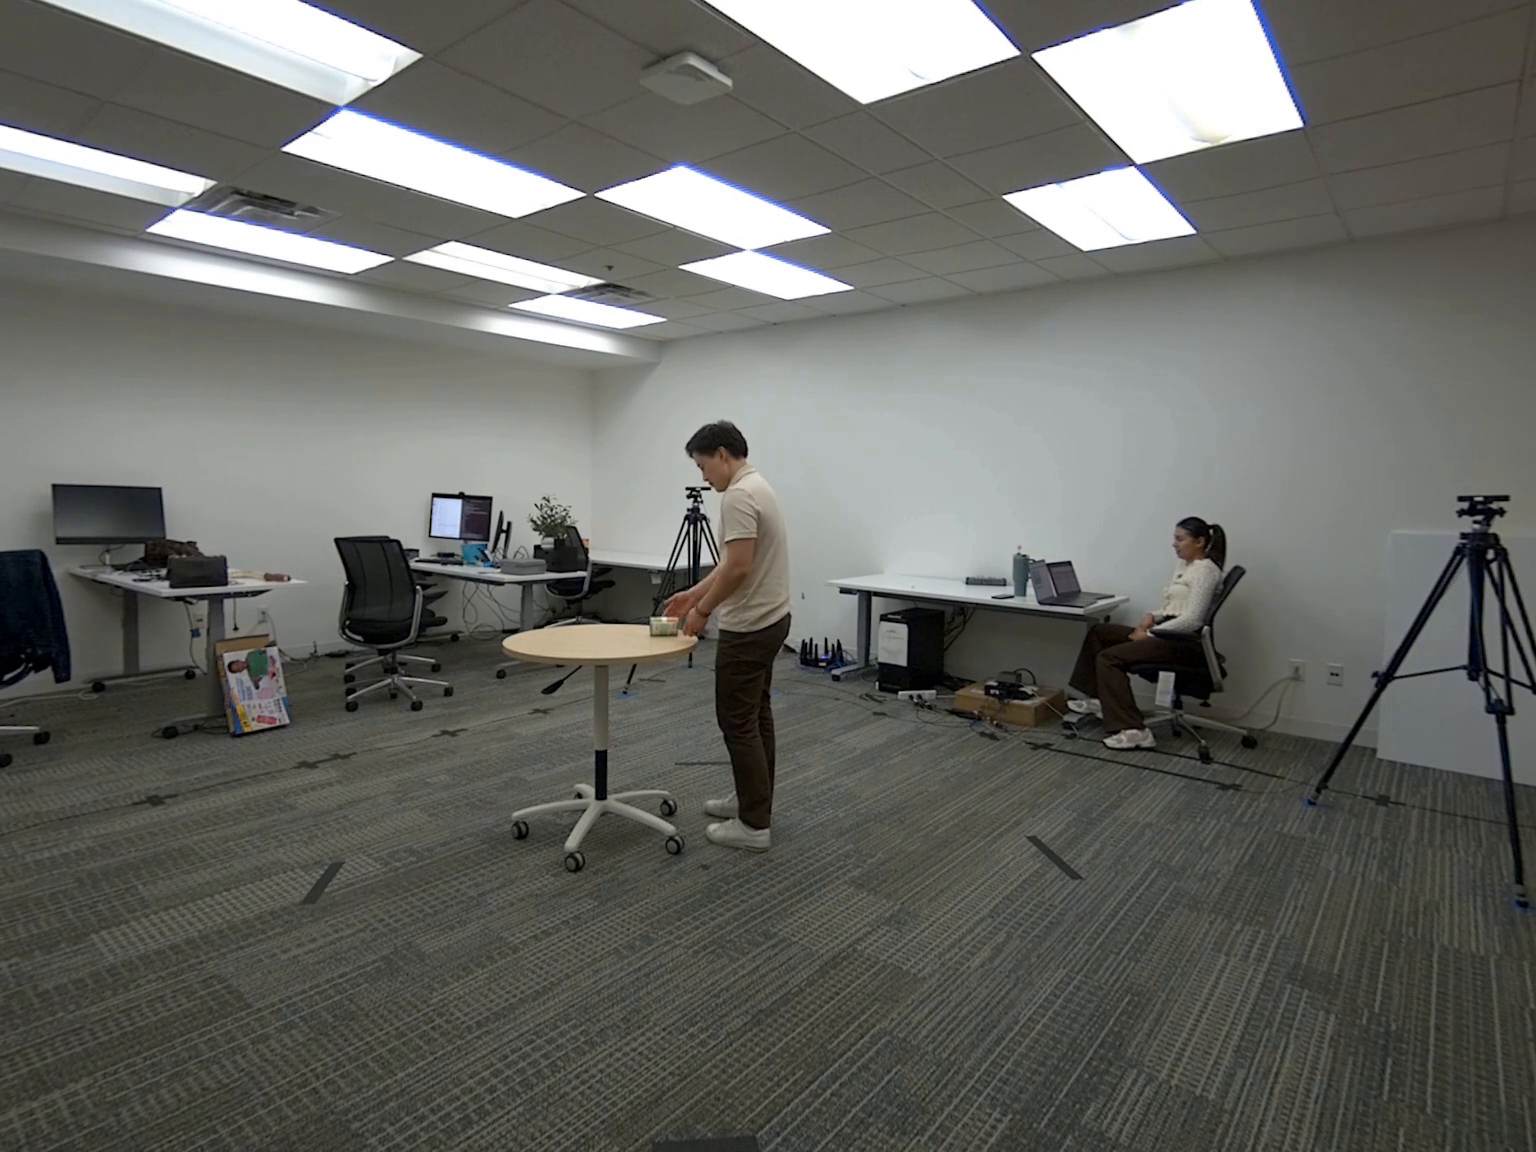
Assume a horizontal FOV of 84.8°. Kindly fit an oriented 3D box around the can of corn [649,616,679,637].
[{"bbox_3d":[-0.435,0.201,3.494,0.110,0.074,0.075,-1,4,-9],"label":"can of corn"}]
